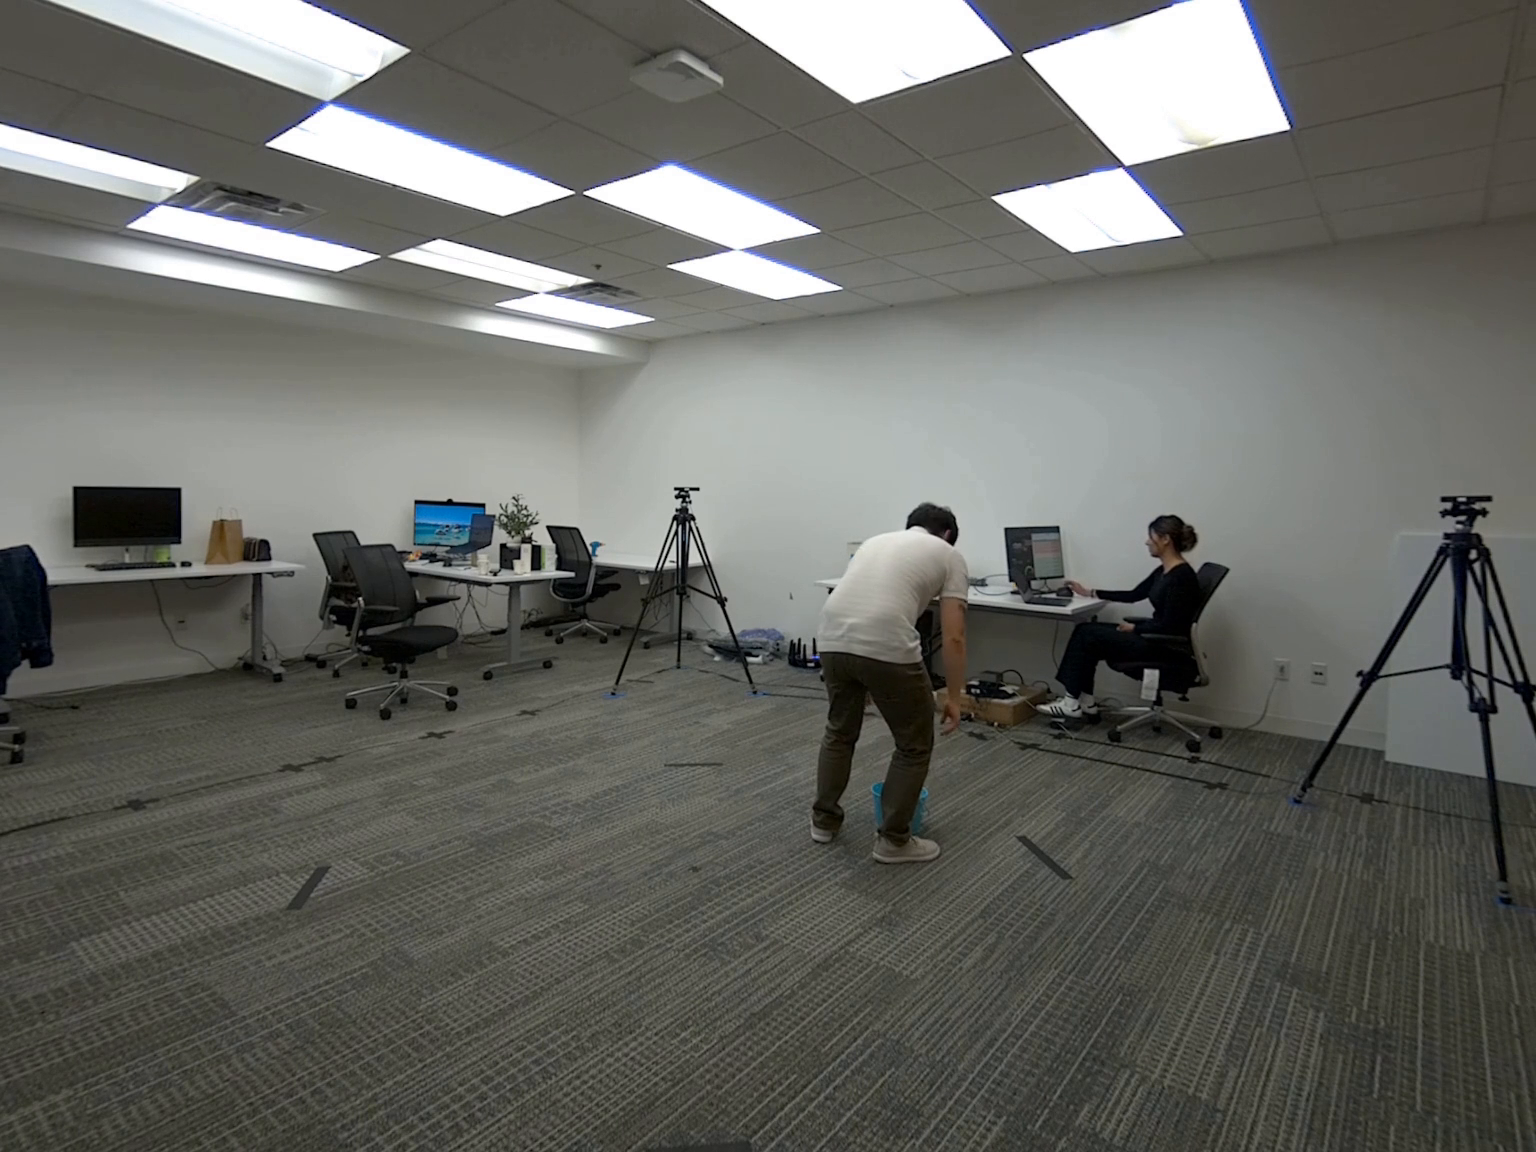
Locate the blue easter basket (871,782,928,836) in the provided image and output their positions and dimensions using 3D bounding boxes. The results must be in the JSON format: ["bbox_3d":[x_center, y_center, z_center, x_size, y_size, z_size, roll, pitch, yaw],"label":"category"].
[{"bbox_3d":[0.538,0.958,3.533,0.243,0.155,0.245,0,6,-2],"label":"blue easter basket"}]
